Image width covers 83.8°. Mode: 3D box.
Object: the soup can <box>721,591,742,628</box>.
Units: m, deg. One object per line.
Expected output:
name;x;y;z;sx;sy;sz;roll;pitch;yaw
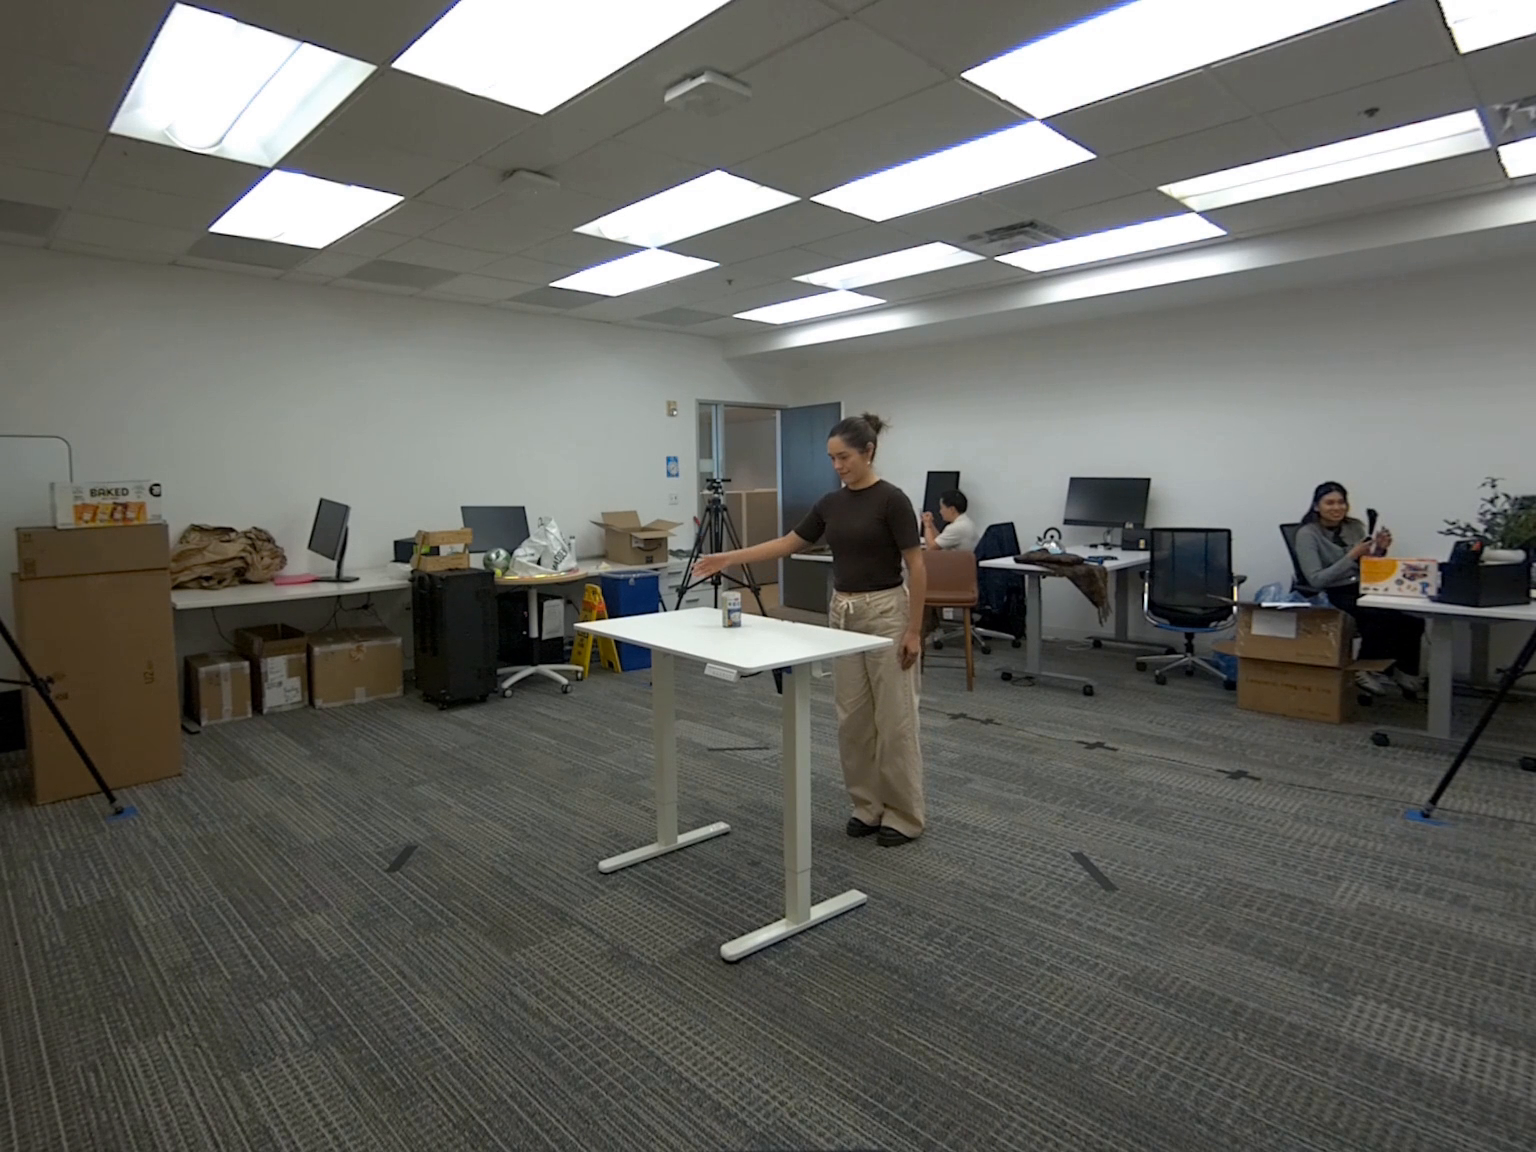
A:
soup can;-0.119;0.117;2.980;0.067;0.121;0.067;-1;6;-2
